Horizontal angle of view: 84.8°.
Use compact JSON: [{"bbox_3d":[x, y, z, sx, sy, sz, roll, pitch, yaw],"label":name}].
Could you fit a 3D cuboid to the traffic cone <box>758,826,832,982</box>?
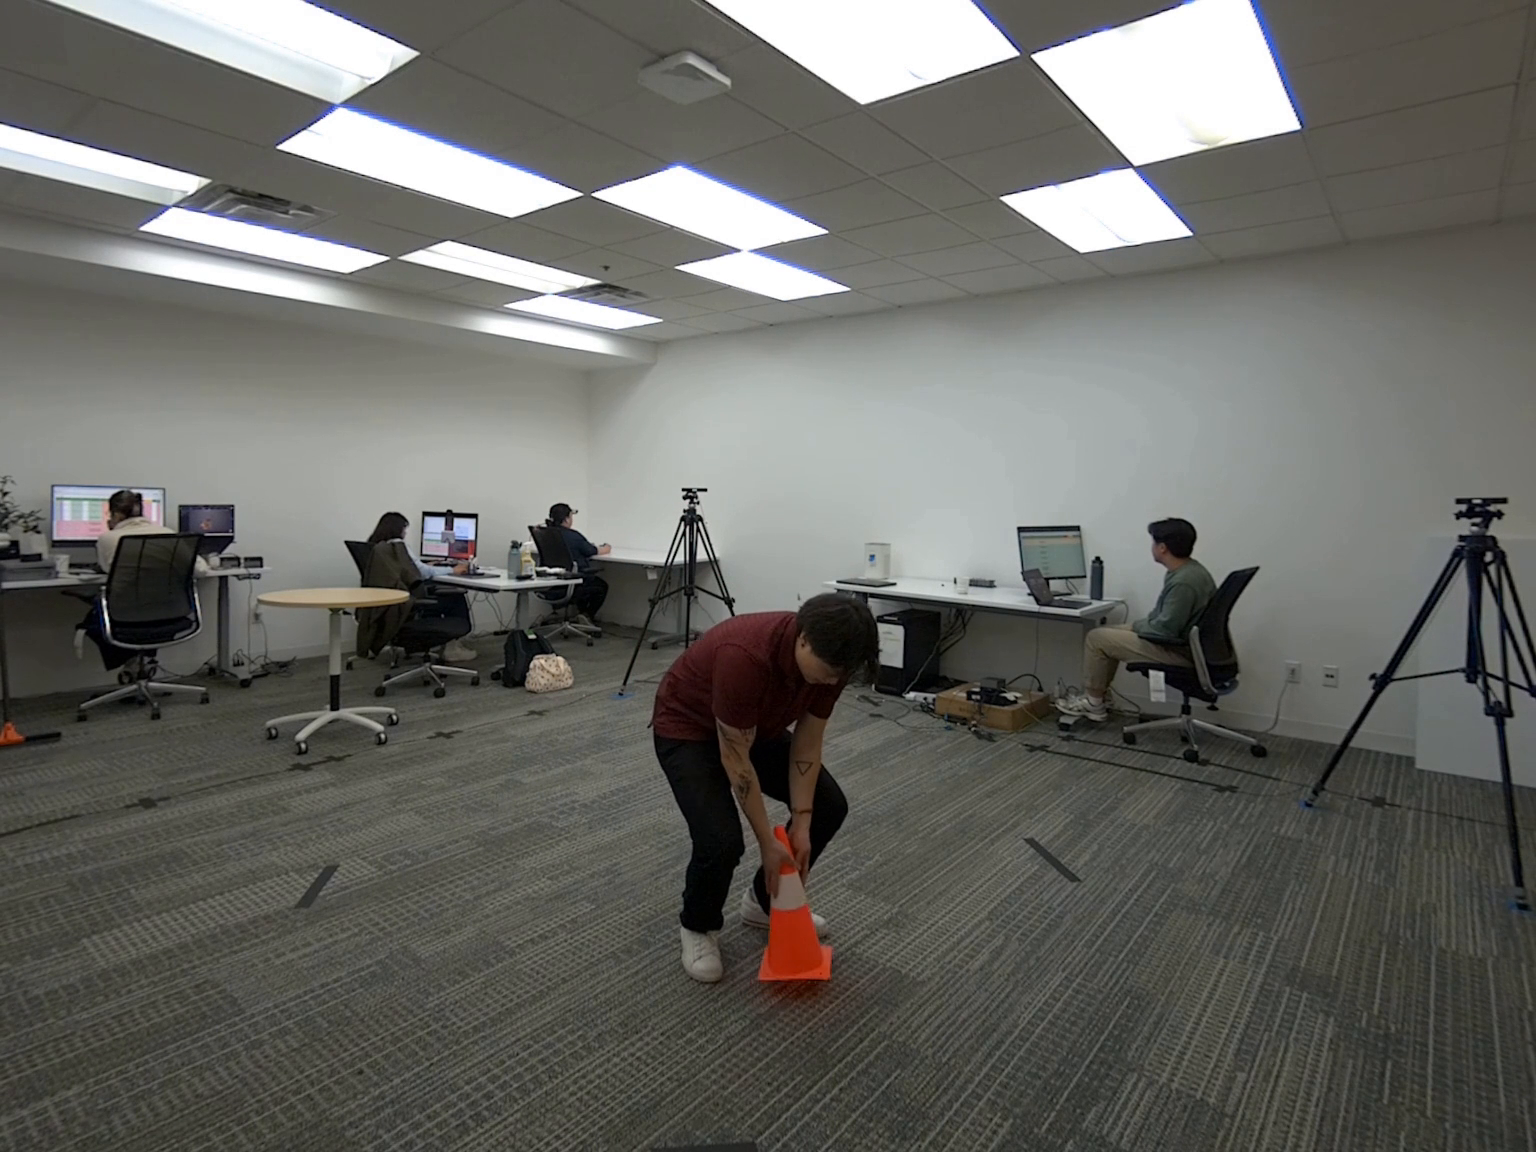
[{"bbox_3d":[0.063,0.901,2.412,0.208,0.384,0.200,-5,-1,13],"label":"traffic cone"}]
